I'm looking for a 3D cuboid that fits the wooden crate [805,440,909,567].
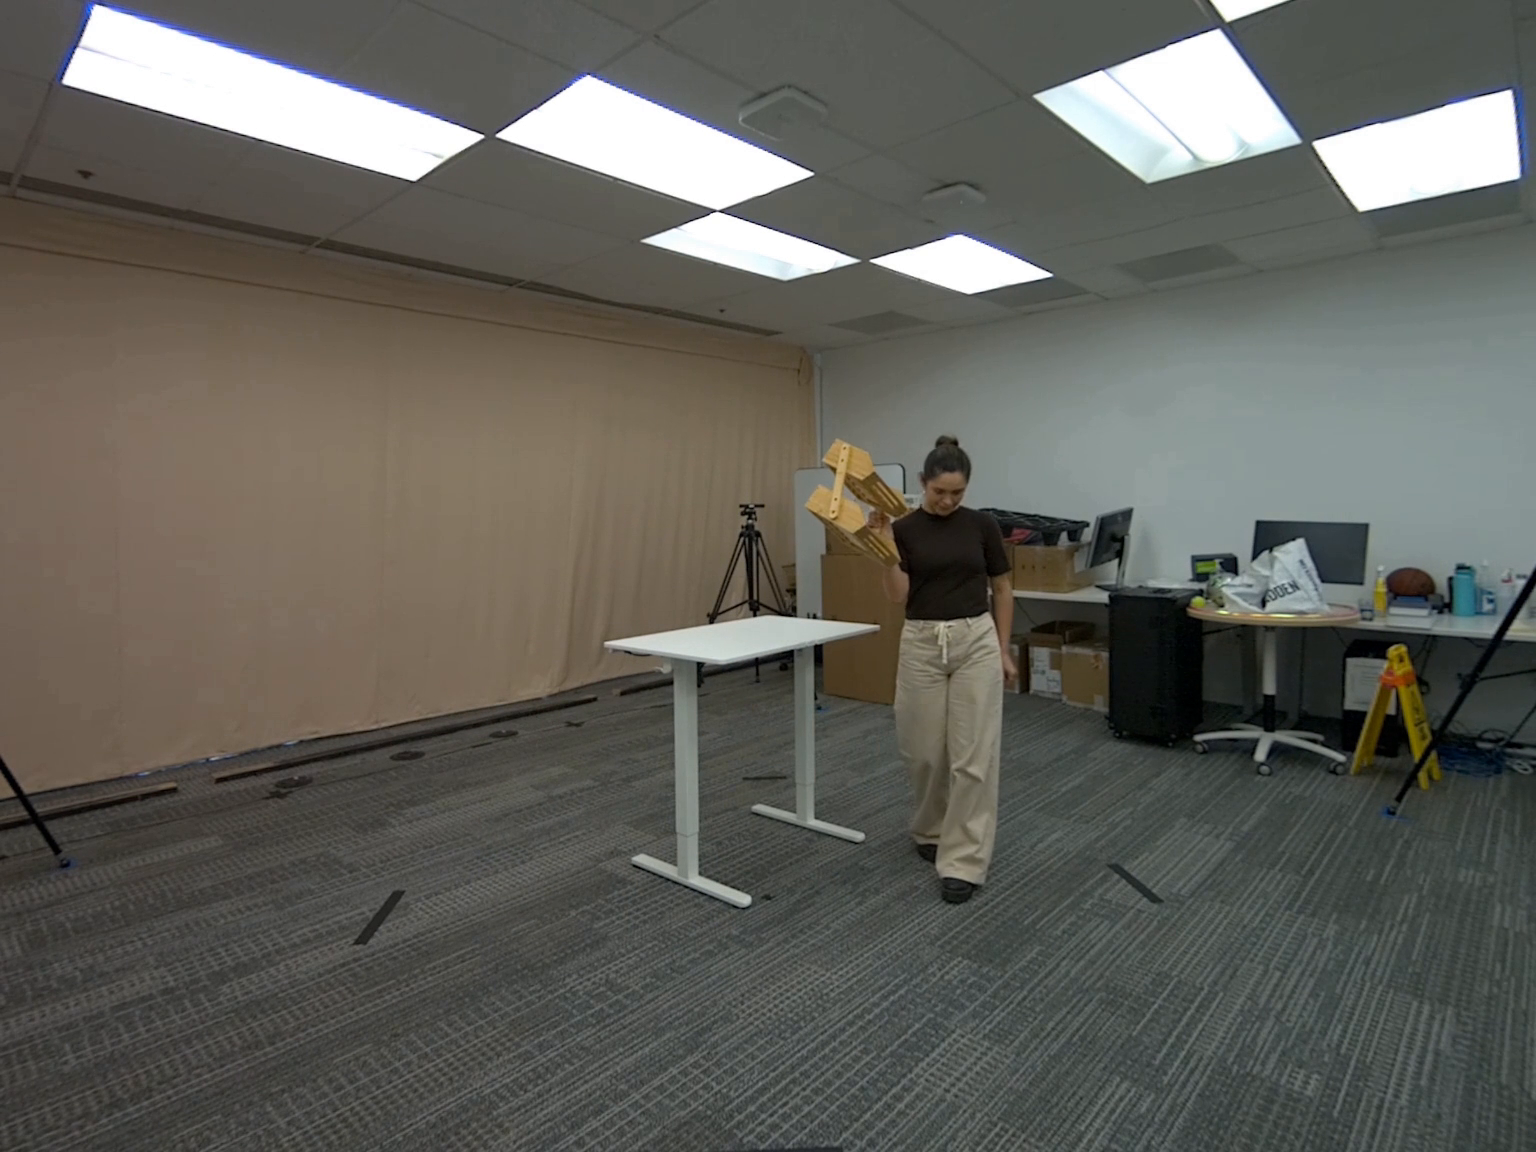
[{"bbox_3d":[0.344,-0.242,2.898,0.313,0.273,0.313,34,-1,40],"label":"wooden crate"}]
